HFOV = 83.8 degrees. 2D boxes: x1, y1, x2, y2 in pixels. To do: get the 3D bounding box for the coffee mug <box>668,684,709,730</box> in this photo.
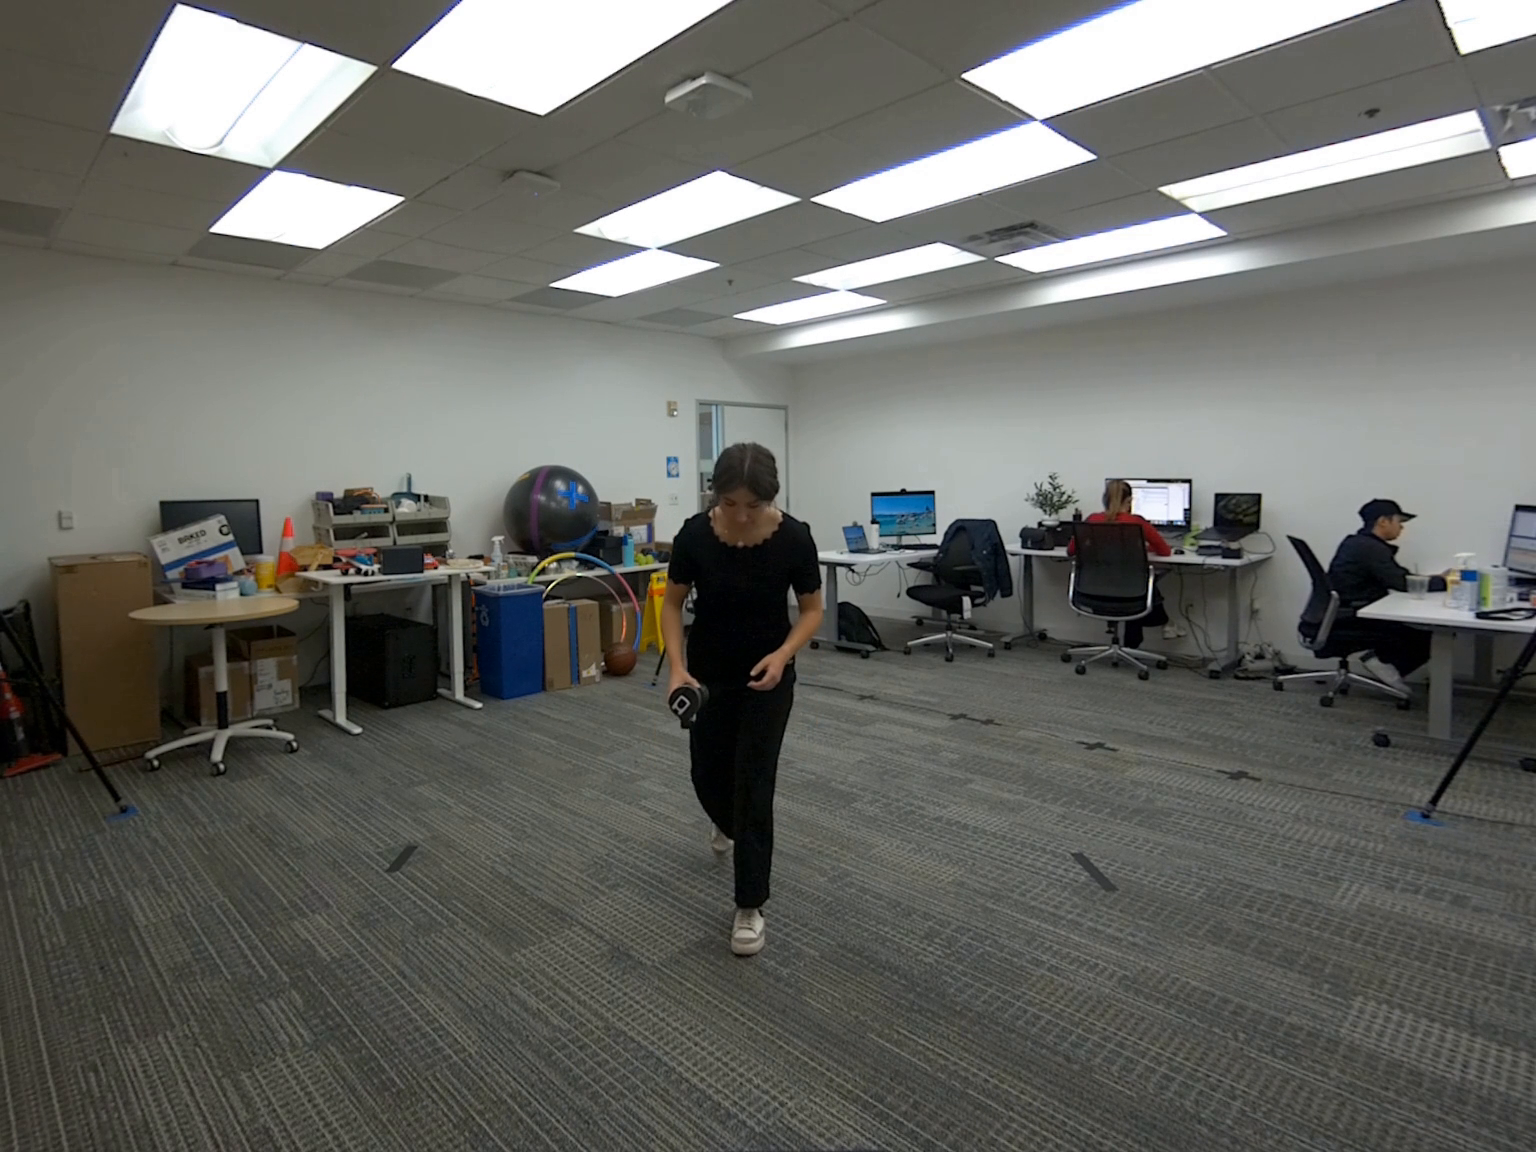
[{"bbox_3d":[-0.239,0.382,2.473,0.088,0.122,0.201,24,-3,3],"label":"coffee mug"}]
